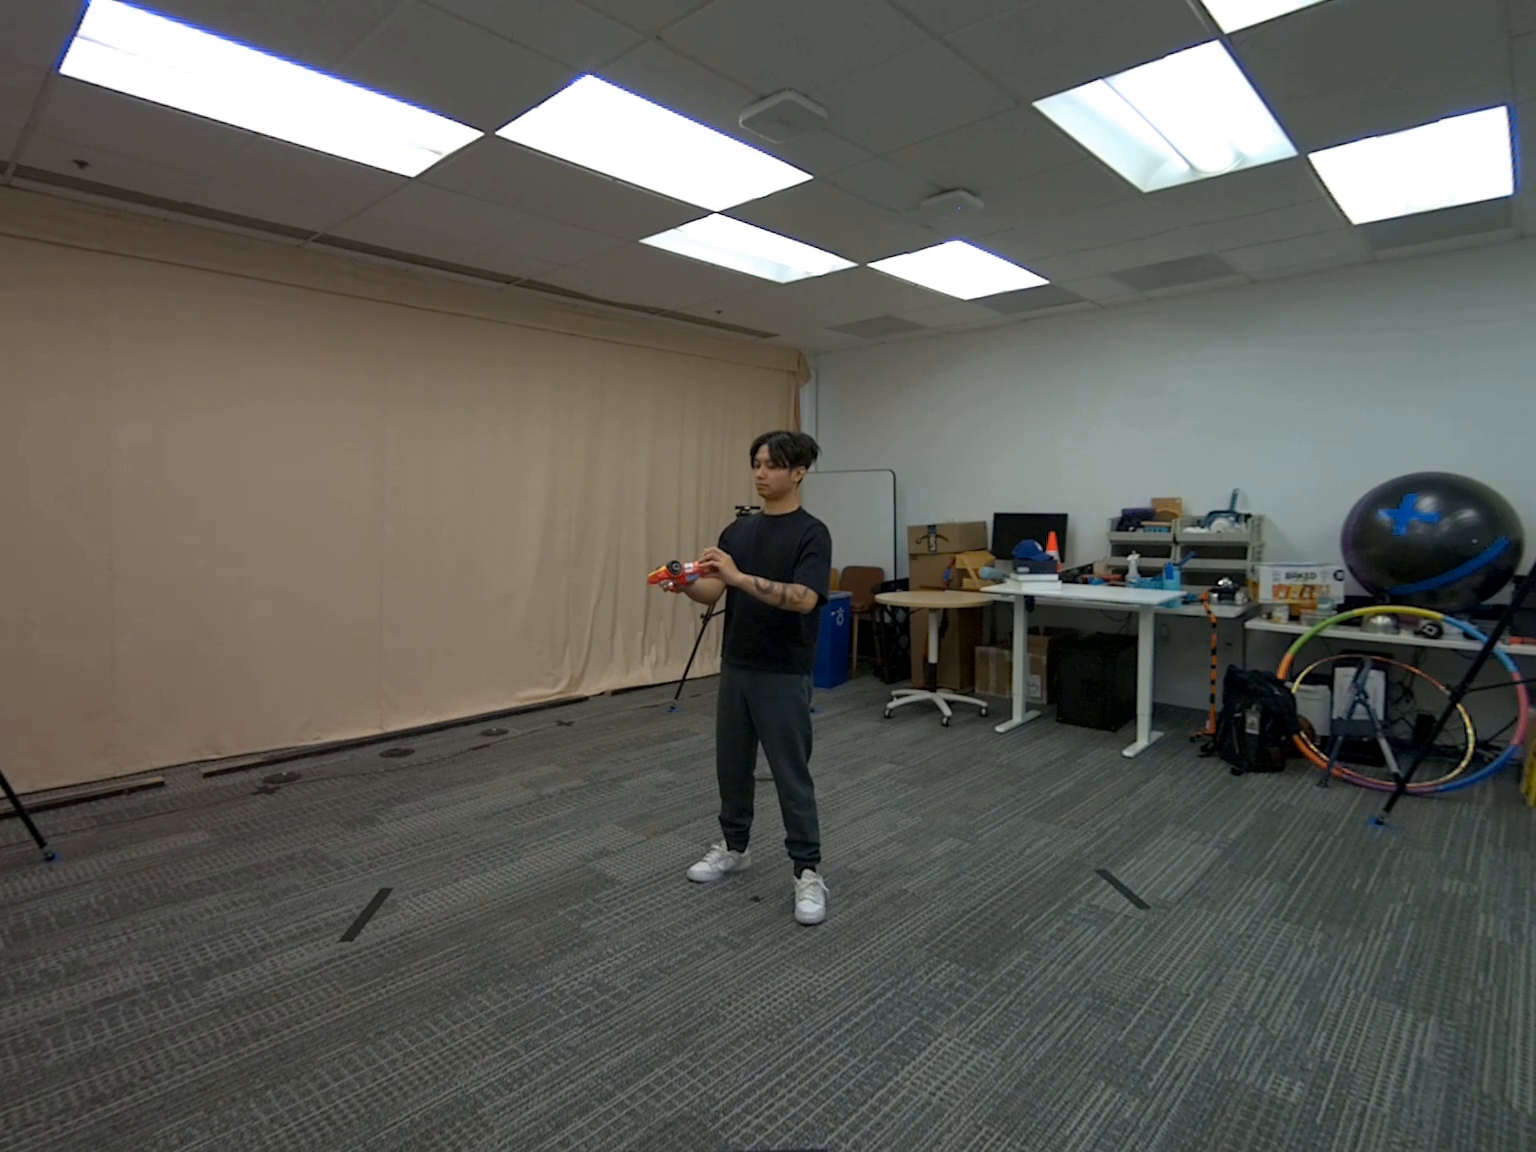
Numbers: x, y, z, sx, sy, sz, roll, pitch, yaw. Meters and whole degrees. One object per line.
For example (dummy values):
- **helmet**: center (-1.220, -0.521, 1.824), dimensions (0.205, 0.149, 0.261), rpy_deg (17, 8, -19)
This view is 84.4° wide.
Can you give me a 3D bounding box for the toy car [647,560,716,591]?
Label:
- **toy car**: center (-0.273, -0.012, 2.722), dimensions (0.249, 0.083, 0.133), rpy_deg (-21, -2, -32)
